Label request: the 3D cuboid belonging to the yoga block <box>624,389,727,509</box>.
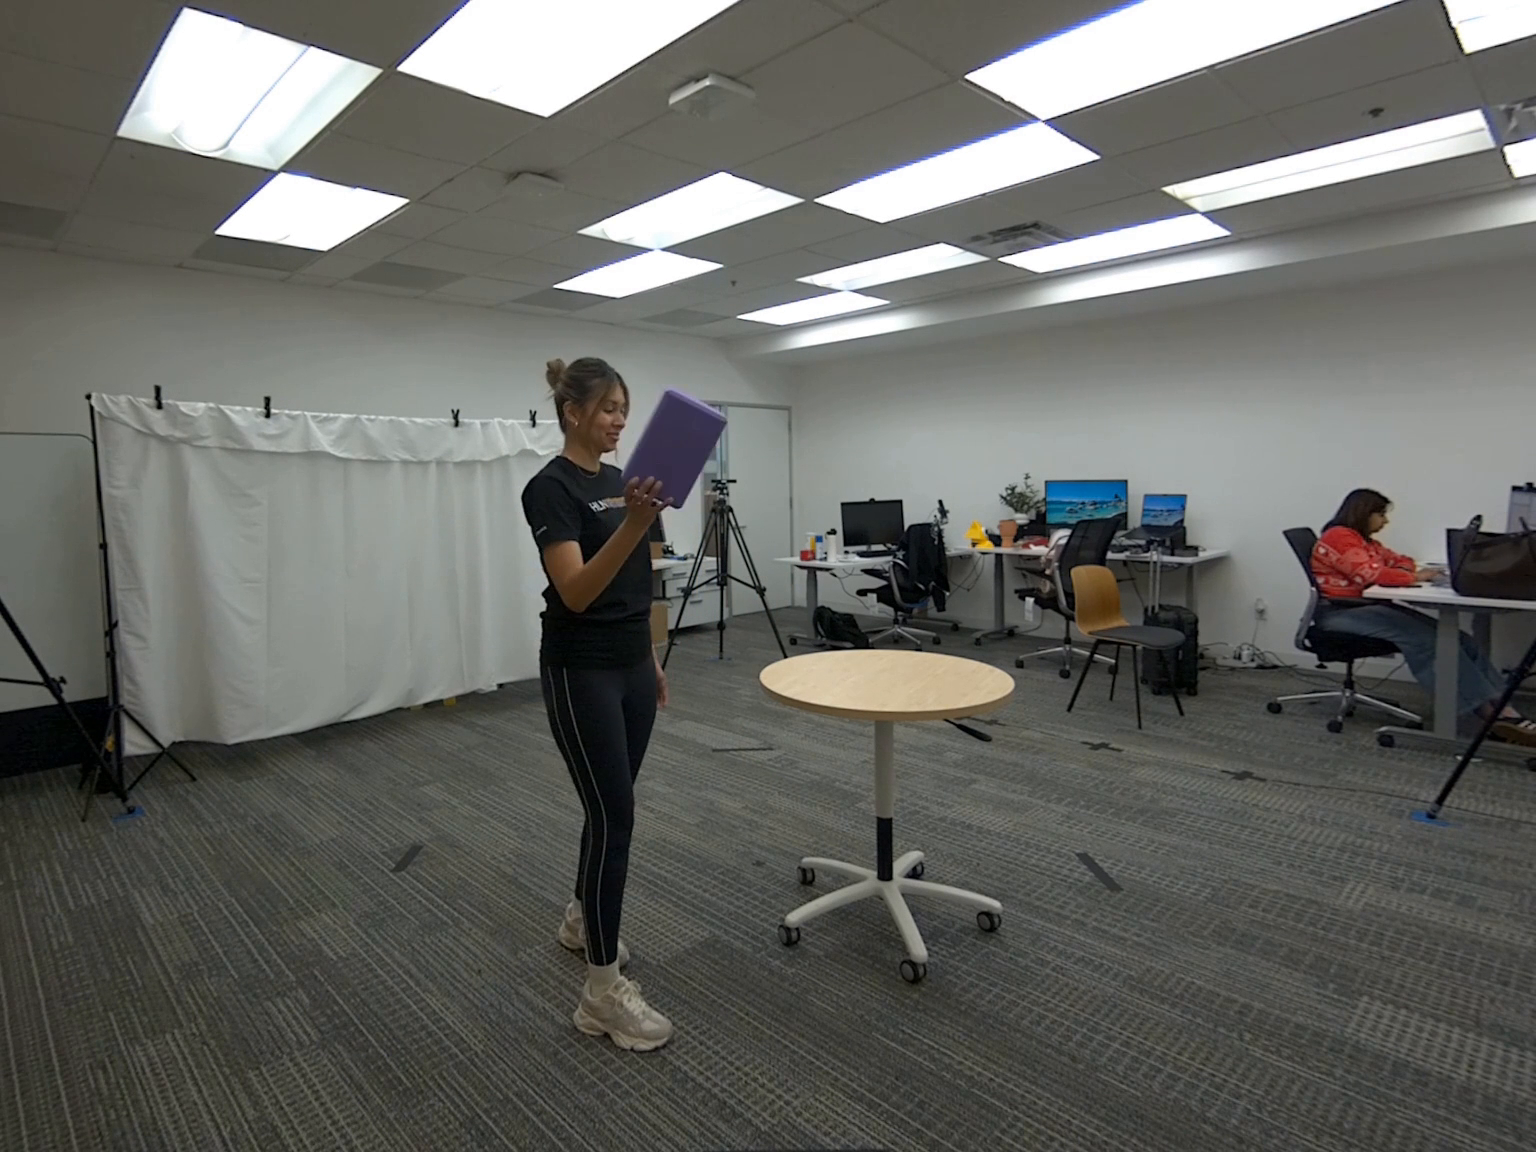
[{"bbox_3d":[-0.203,-0.281,1.859,0.147,0.228,0.078,26,16,-12],"label":"yoga block"}]
